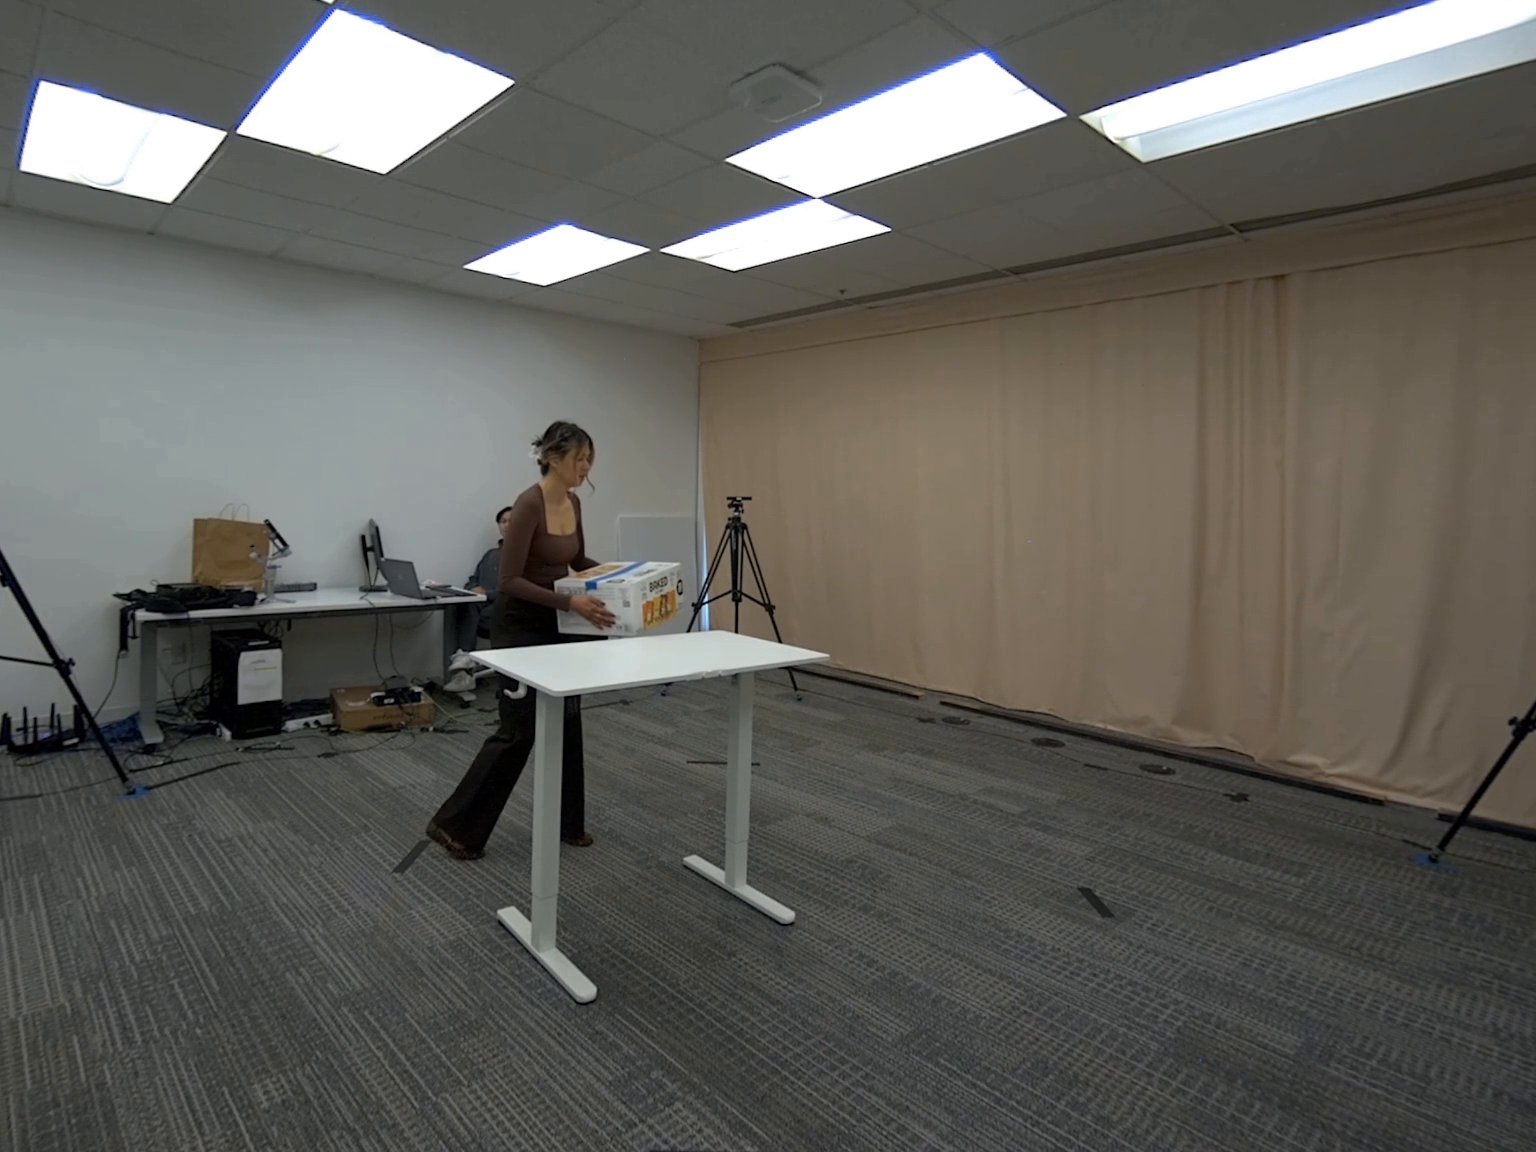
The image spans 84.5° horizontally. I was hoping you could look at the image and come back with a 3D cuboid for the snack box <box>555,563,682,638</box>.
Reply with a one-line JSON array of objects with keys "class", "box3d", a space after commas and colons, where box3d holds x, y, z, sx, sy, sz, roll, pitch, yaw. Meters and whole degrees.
[{"class": "snack box", "box3d": [-0.584, 0.082, 3.288, 0.346, 0.204, 0.401, 0, 9, 21]}]
